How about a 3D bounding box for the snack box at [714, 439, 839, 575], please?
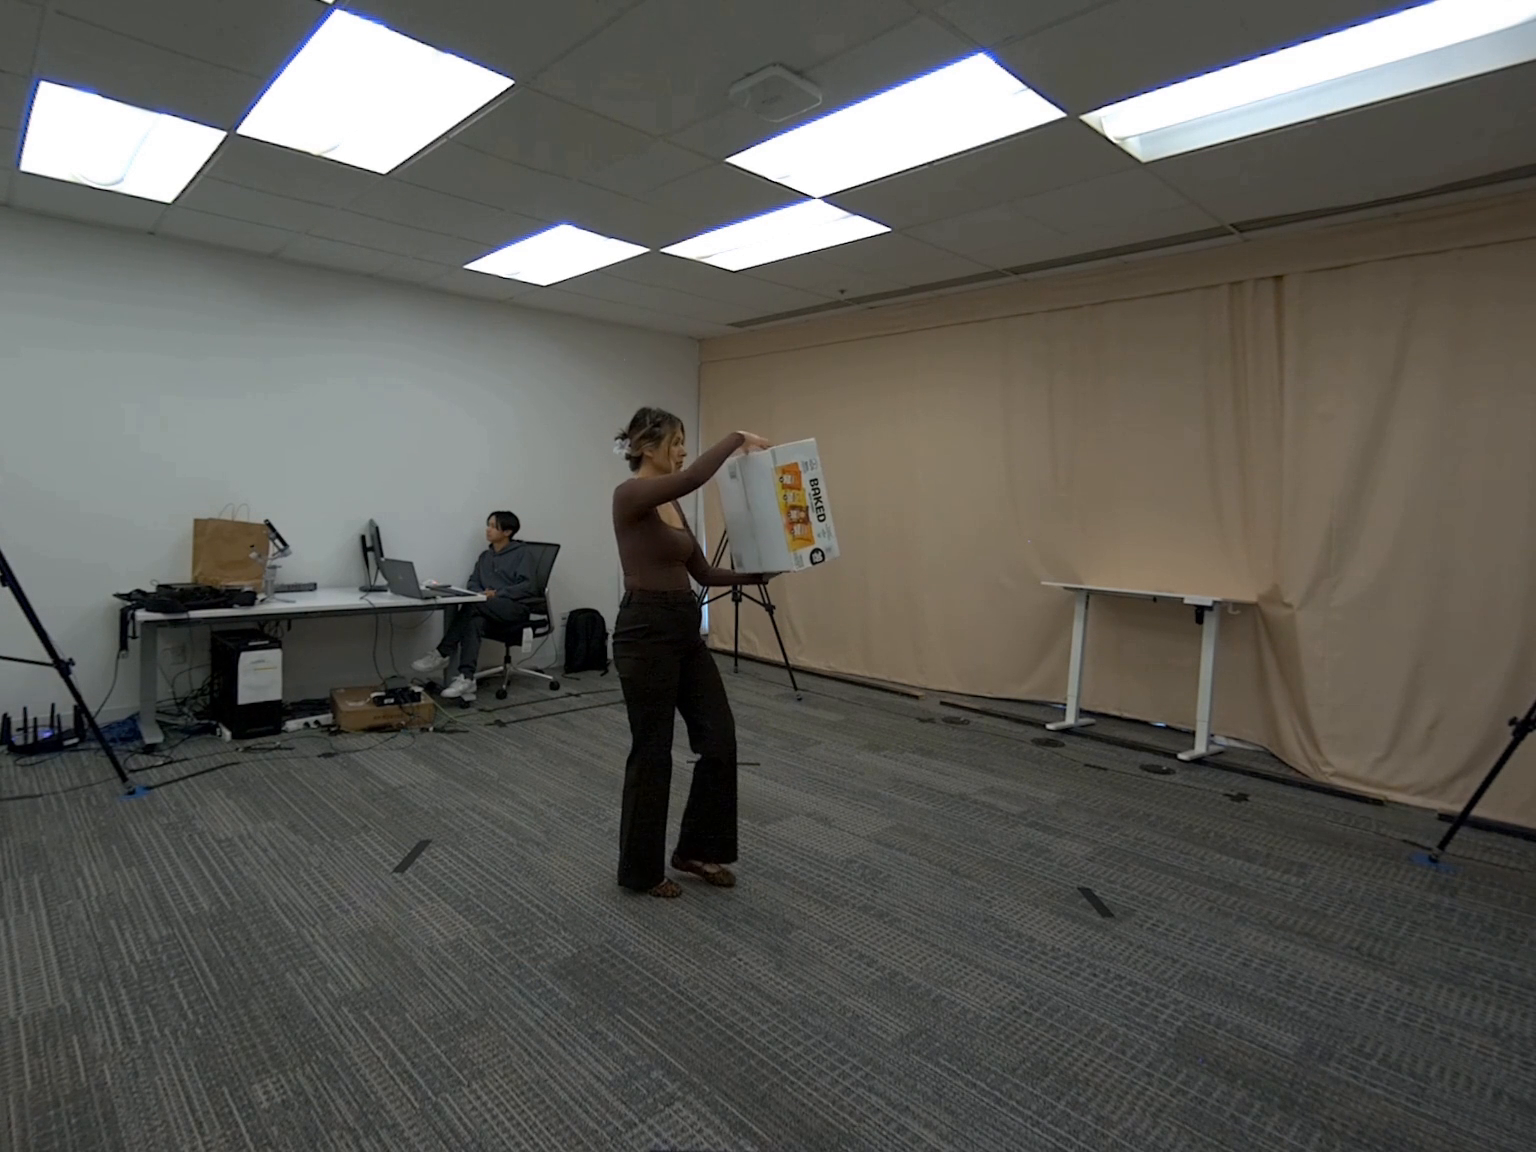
[{"bbox_3d":[0.017,-0.232,2.872,0.202,0.403,0.347,-17,8,-35],"label":"snack box"}]
